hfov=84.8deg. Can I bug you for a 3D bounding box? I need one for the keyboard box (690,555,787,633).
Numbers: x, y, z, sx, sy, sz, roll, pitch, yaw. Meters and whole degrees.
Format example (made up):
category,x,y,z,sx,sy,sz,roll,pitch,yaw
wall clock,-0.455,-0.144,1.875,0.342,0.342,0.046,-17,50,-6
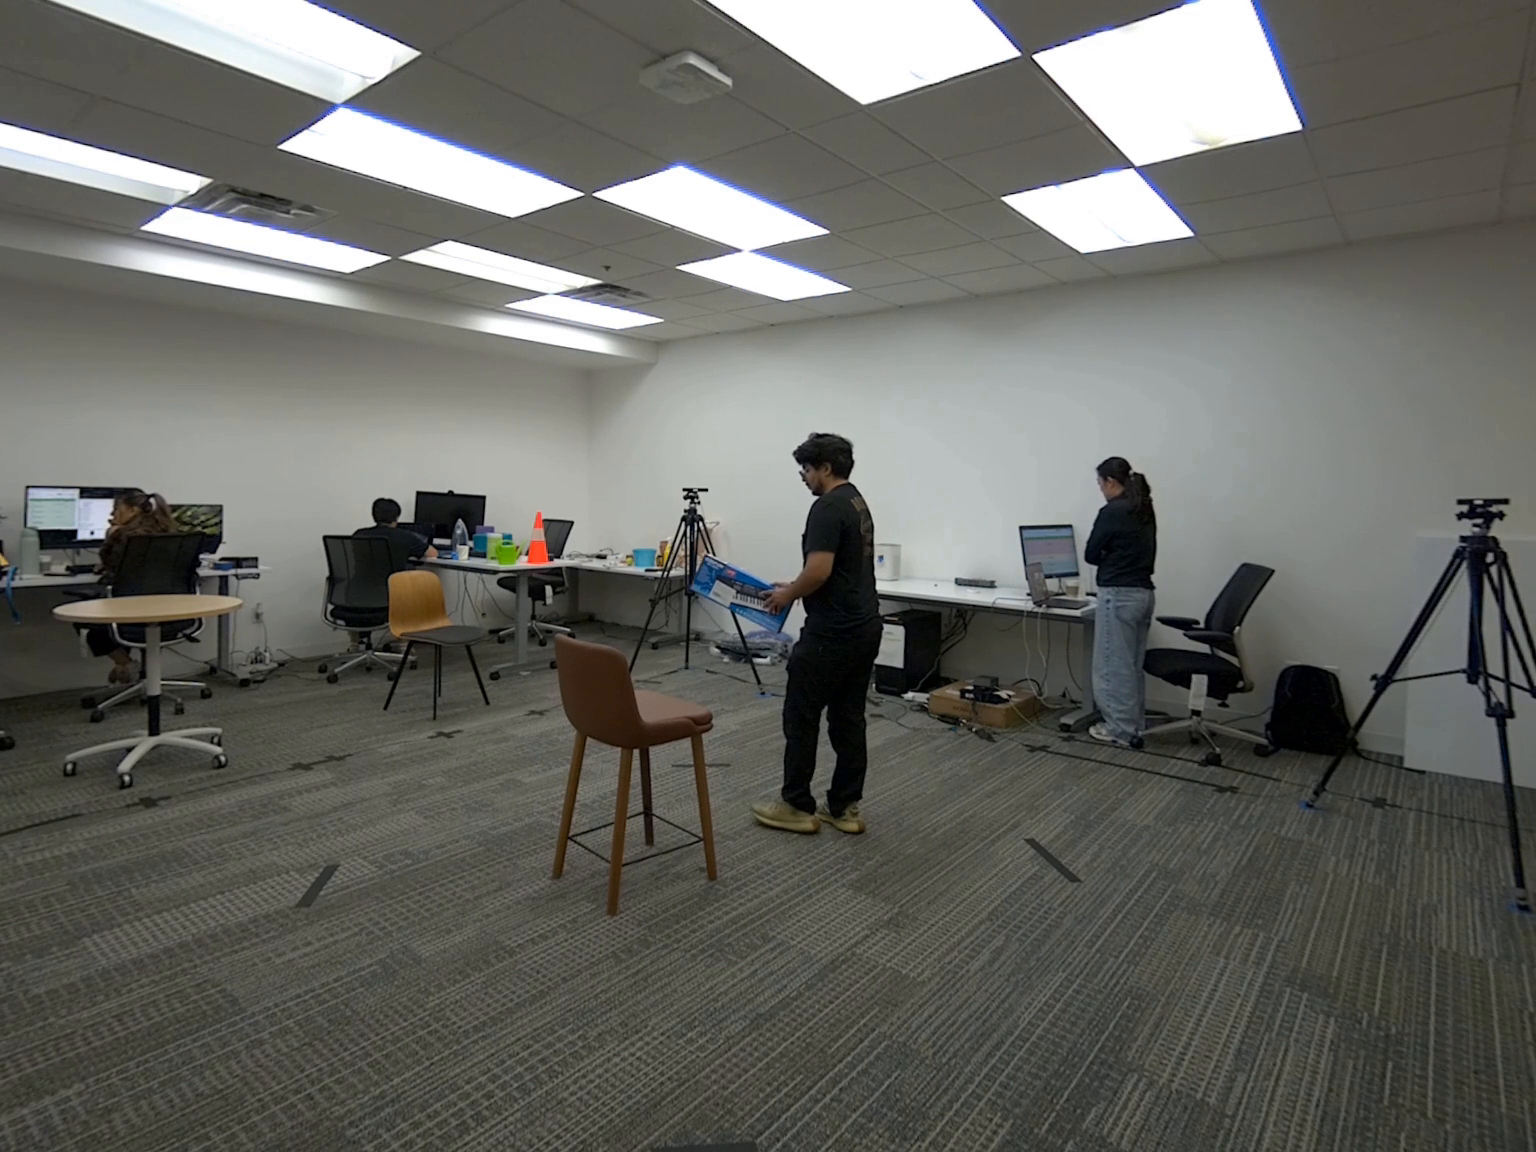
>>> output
category,x,y,z,sx,sy,sz,roll,pitch,yaw
keyboard box,-0.124,0.072,3.680,0.445,0.176,0.058,26,3,14
